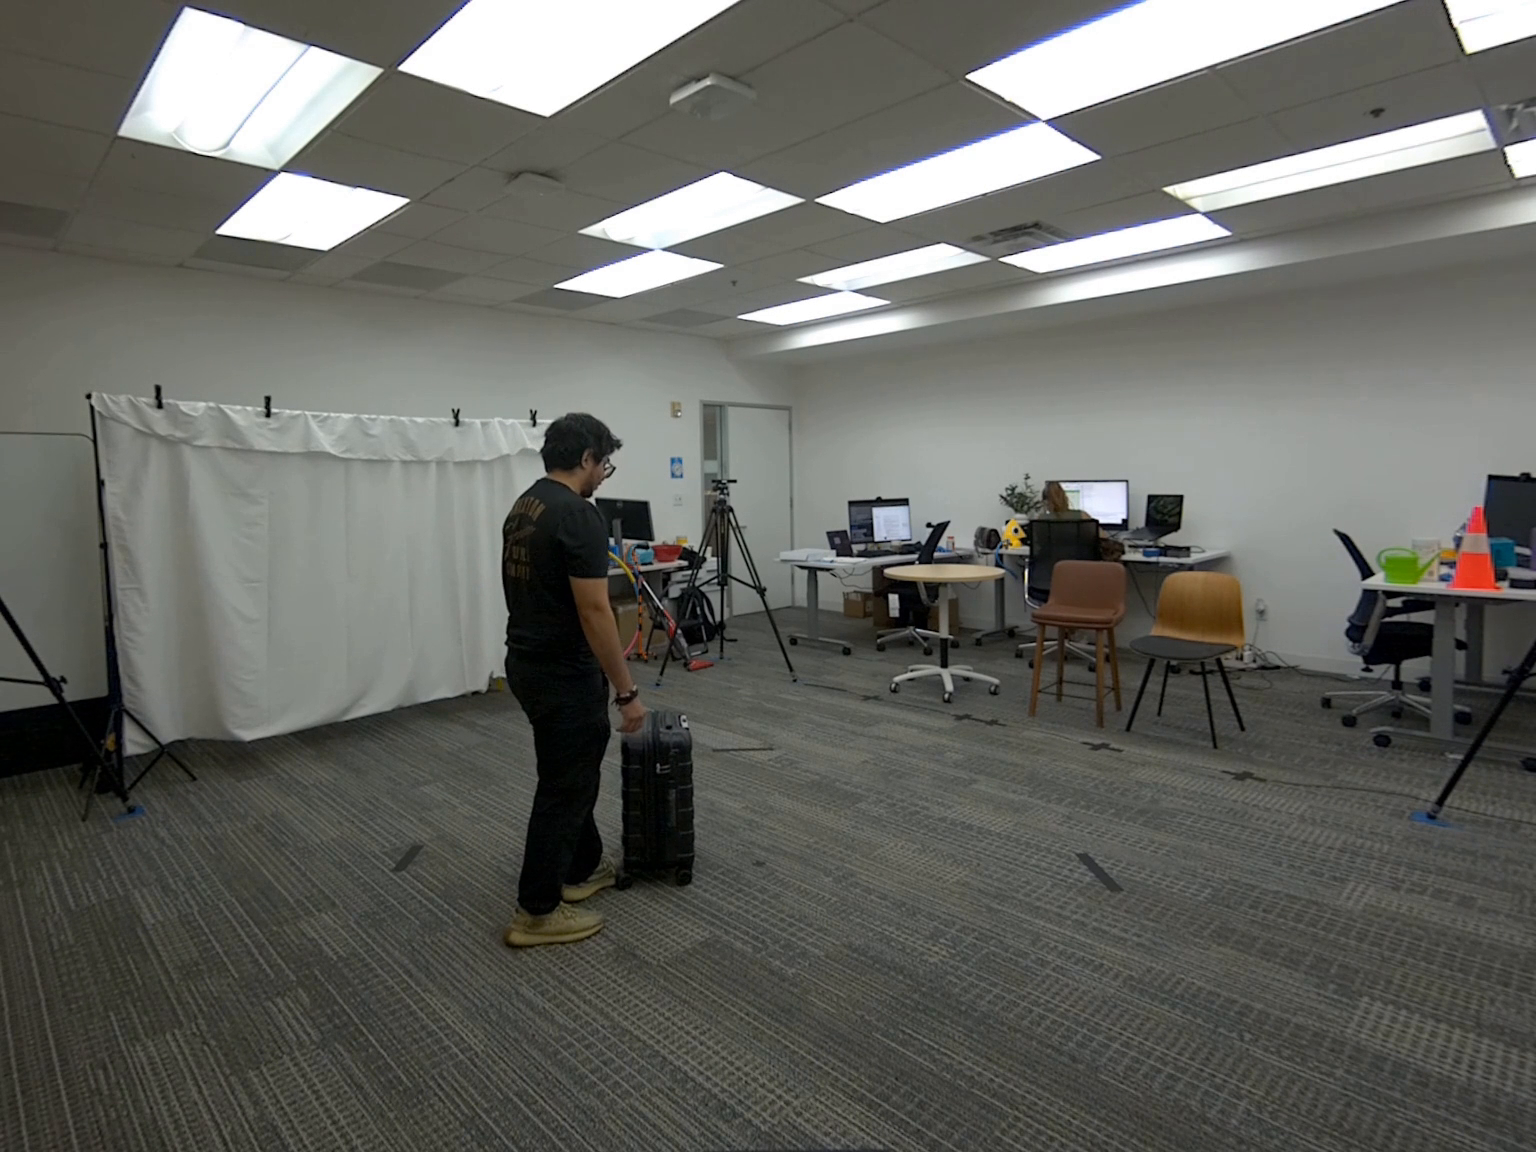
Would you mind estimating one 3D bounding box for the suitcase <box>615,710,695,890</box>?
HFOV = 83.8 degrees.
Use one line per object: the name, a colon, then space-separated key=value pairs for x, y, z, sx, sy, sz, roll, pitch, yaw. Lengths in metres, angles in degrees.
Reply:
suitcase: x=-0.398 y=0.776 z=3.089 sx=0.247 sy=0.547 sz=0.379 roll=-1 pitch=5 yaw=-7
